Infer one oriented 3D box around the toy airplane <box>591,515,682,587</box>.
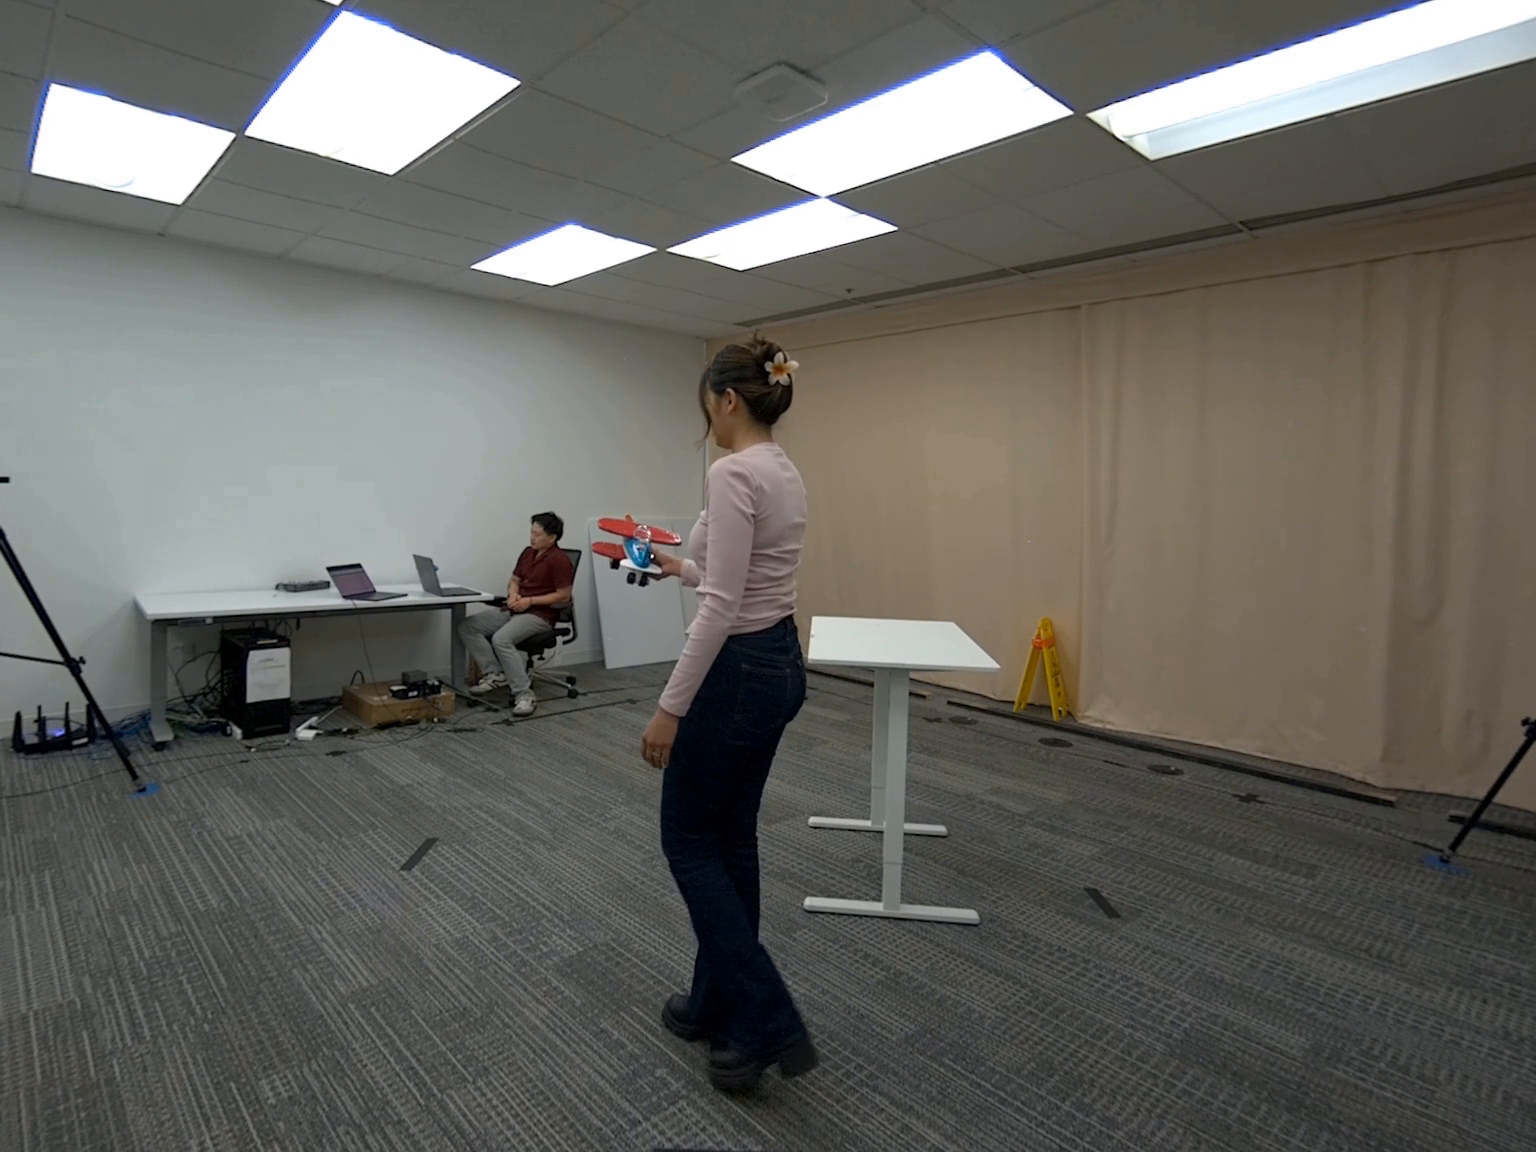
[{"bbox_3d":[-0.377,-0.062,2.483,0.267,0.156,0.244,23,11,42],"label":"toy airplane"}]
